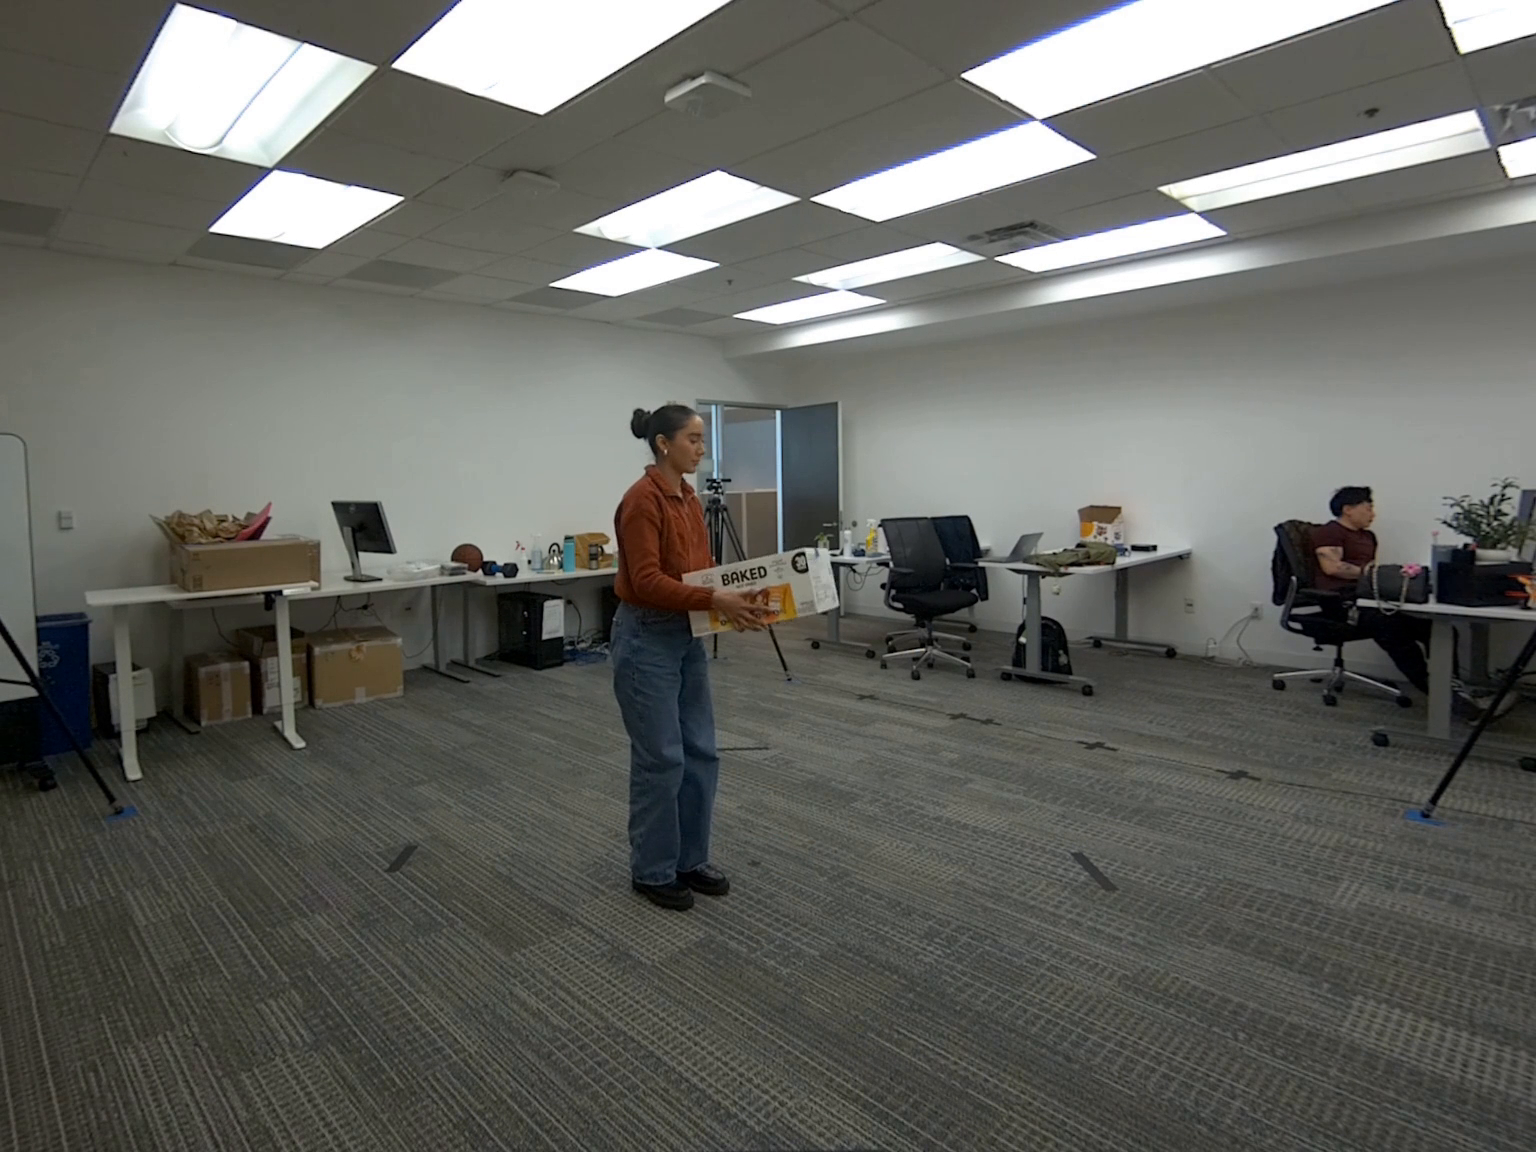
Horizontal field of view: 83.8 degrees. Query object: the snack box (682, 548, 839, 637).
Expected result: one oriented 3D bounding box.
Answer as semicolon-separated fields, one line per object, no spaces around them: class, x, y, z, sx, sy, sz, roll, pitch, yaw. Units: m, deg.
snack box;-0.017;0.056;2.767;0.410;0.206;0.335;-12;-2;16
